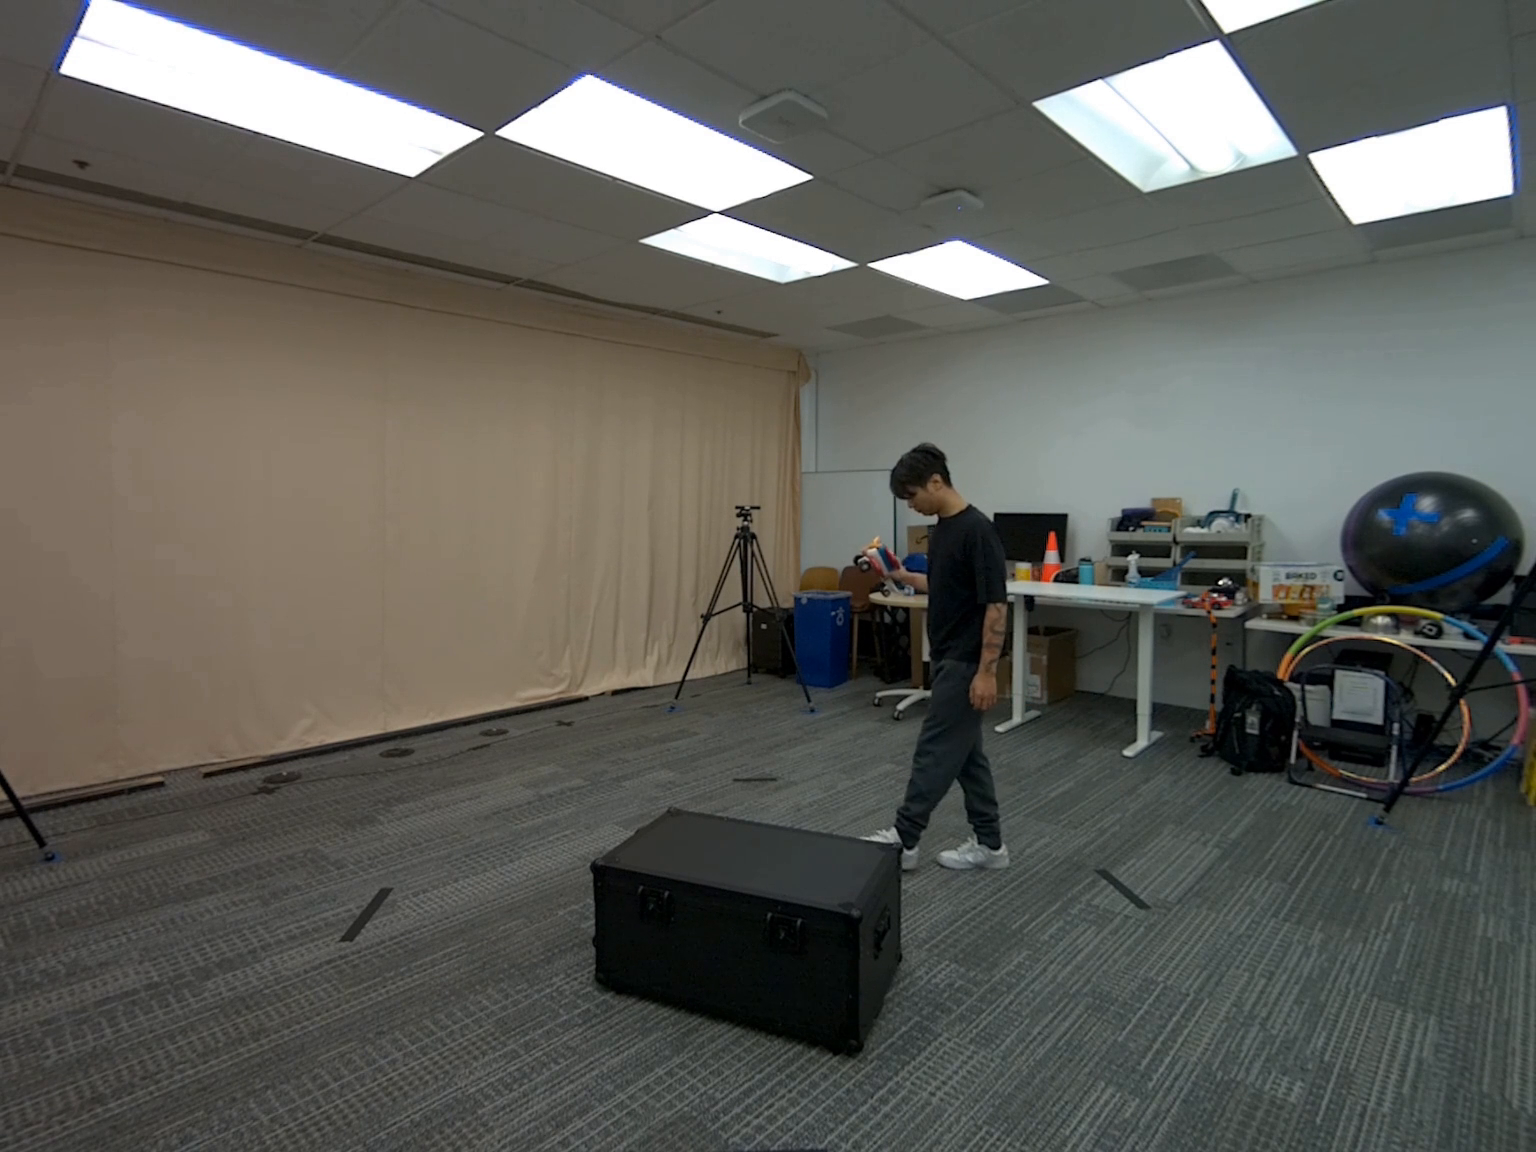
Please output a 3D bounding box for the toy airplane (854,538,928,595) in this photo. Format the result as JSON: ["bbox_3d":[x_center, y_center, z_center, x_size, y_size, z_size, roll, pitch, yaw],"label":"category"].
[{"bbox_3d":[0.497,-0.038,3.720,0.250,0.157,0.260,43,7,-45],"label":"toy airplane"}]
